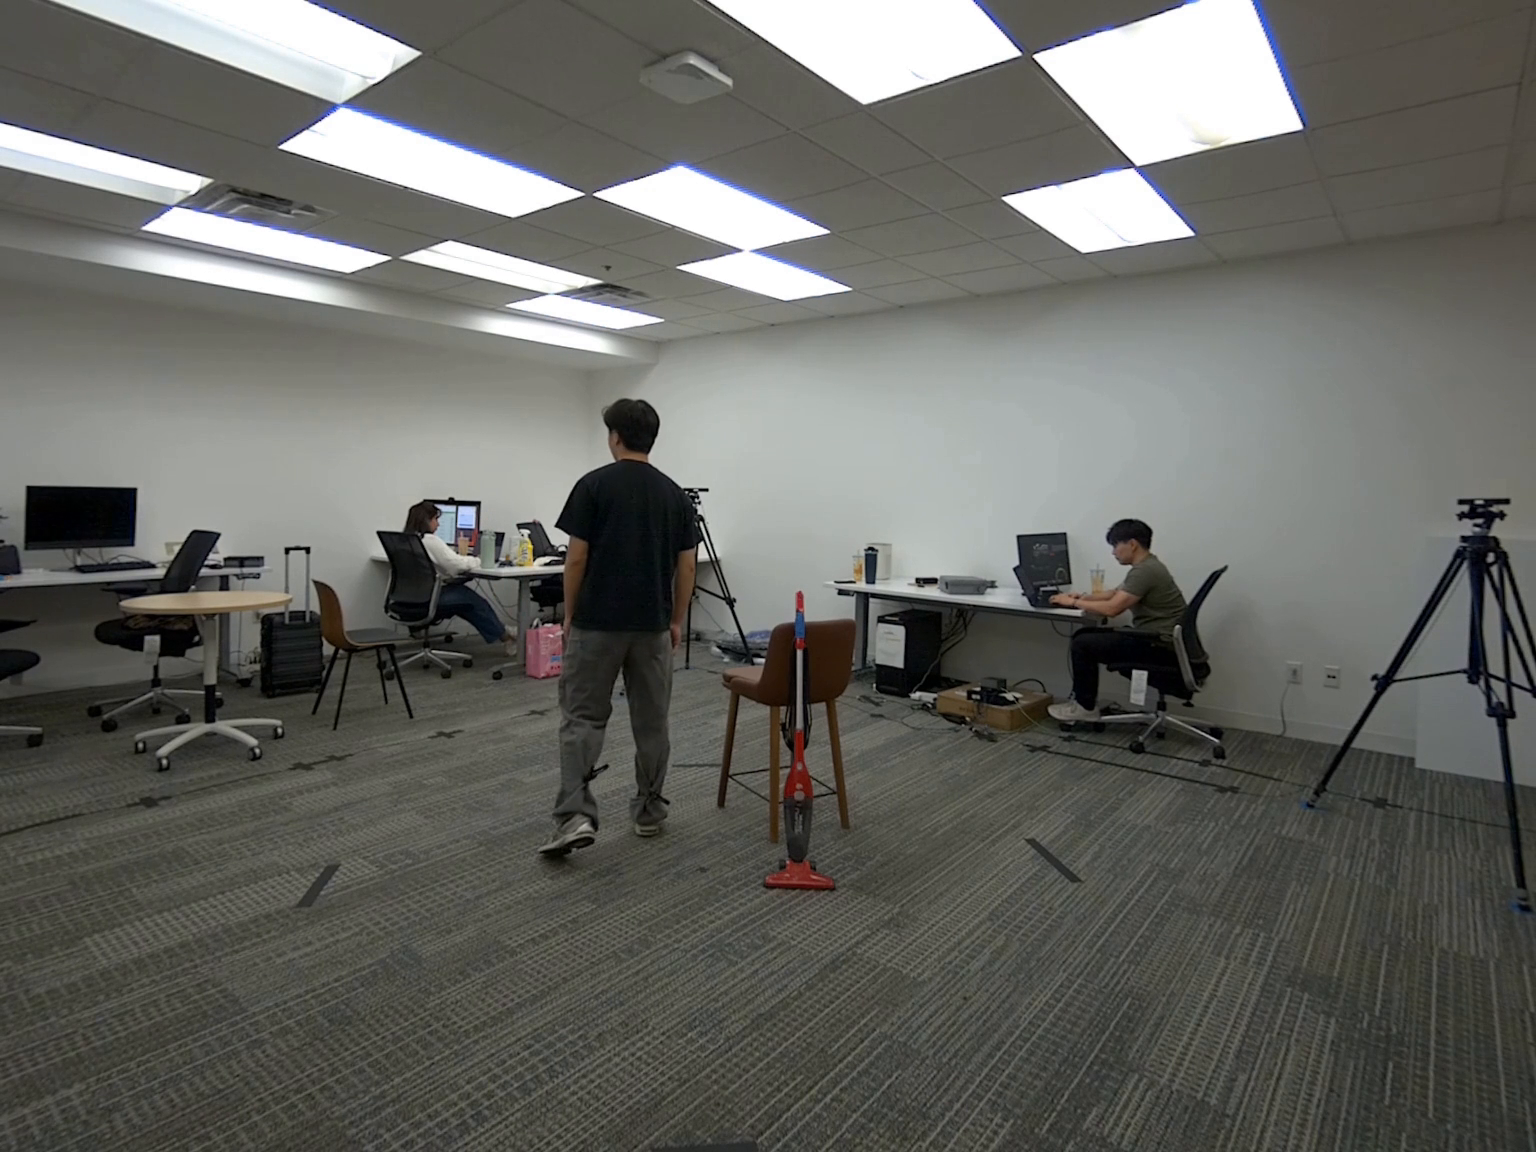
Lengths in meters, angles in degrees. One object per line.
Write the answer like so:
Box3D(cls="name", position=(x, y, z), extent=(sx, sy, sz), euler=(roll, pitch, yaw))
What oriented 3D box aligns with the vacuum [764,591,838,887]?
Box3D(cls="vacuum", position=(0.113, 0.573, 3.200), extent=(0.252, 1.066, 0.142), euler=(2, -18, -3))
